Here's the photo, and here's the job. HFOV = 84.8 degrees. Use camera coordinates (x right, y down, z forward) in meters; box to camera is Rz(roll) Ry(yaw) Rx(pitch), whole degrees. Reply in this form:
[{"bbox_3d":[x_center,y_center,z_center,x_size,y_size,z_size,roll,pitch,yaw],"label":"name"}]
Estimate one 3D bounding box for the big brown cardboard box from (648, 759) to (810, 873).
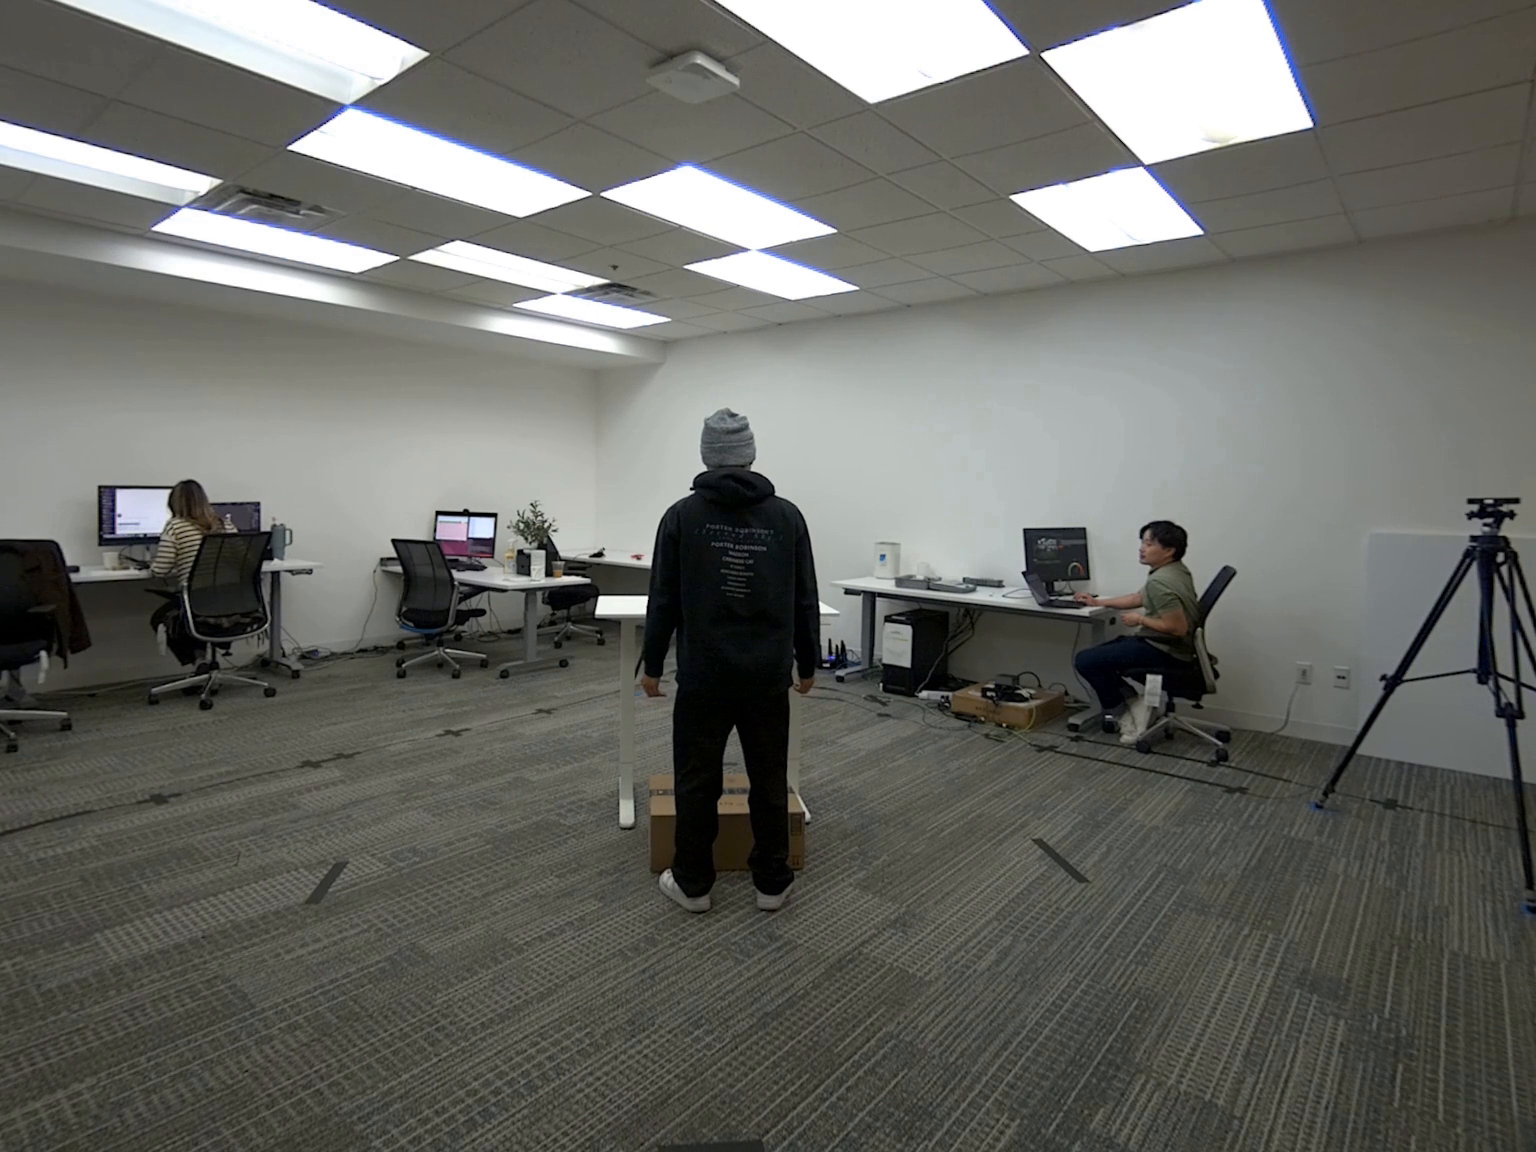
[{"bbox_3d":[-0.181,0.936,3.282,0.585,0.232,0.422,1,5,-6],"label":"big brown cardboard box"}]
